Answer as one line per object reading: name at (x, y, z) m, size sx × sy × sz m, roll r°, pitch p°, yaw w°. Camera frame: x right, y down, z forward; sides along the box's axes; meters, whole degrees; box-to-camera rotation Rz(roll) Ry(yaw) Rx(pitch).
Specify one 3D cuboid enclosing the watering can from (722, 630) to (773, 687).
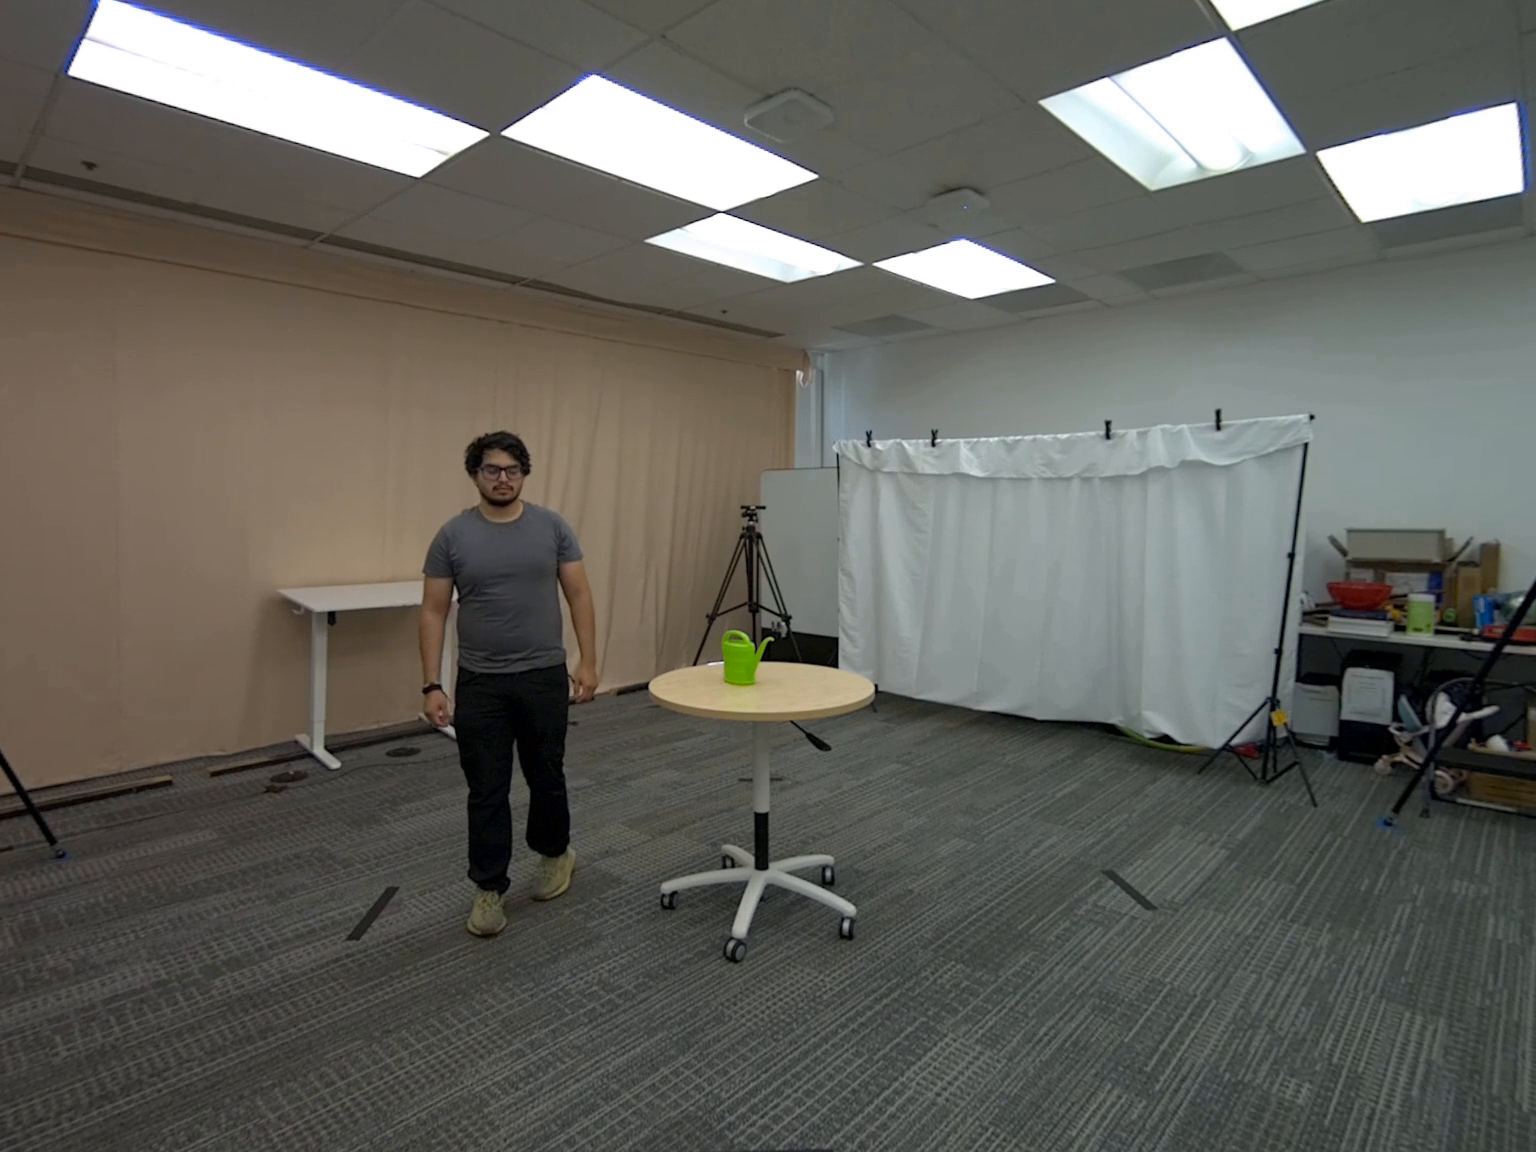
watering can at (-0.079, 0.285, 2.859) m, size 0.096 × 0.176 × 0.285 m, roll -3°, pitch 5°, yaw -25°
